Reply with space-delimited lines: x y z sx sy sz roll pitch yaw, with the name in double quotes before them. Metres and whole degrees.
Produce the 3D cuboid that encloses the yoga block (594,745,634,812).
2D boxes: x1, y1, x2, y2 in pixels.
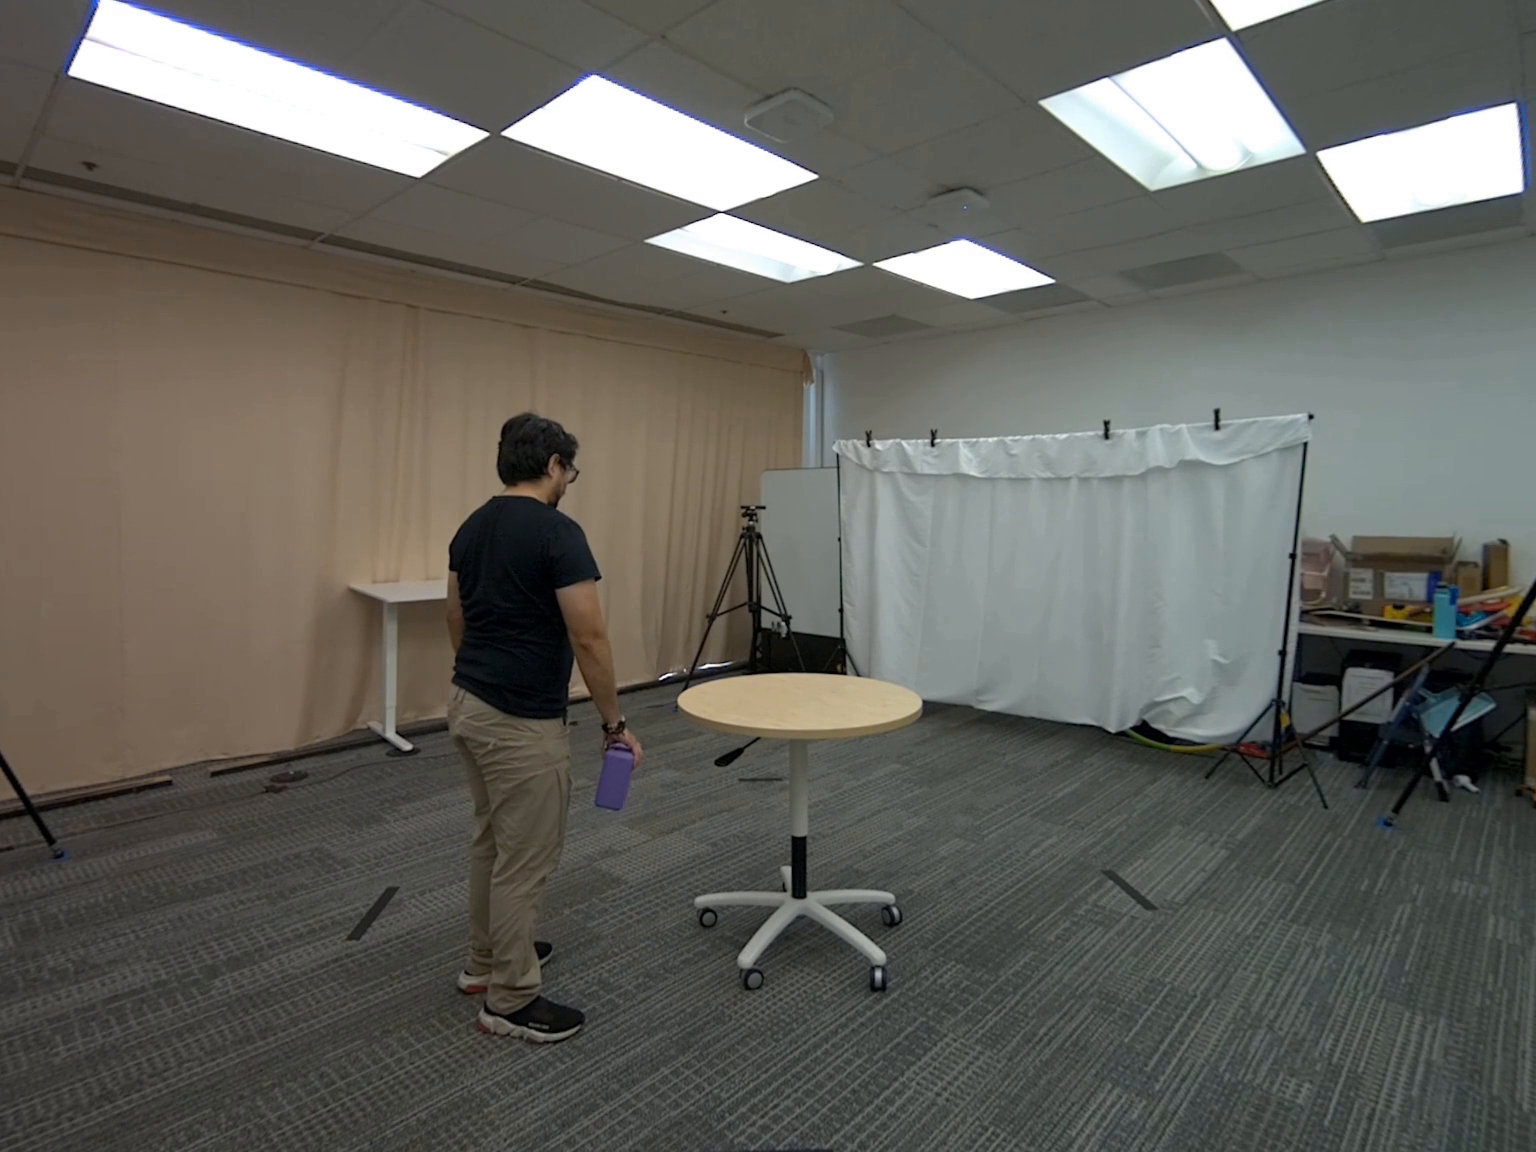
"yoga block" -0.414 0.559 2.292 0.076 0.149 0.230 12 -2 -5
